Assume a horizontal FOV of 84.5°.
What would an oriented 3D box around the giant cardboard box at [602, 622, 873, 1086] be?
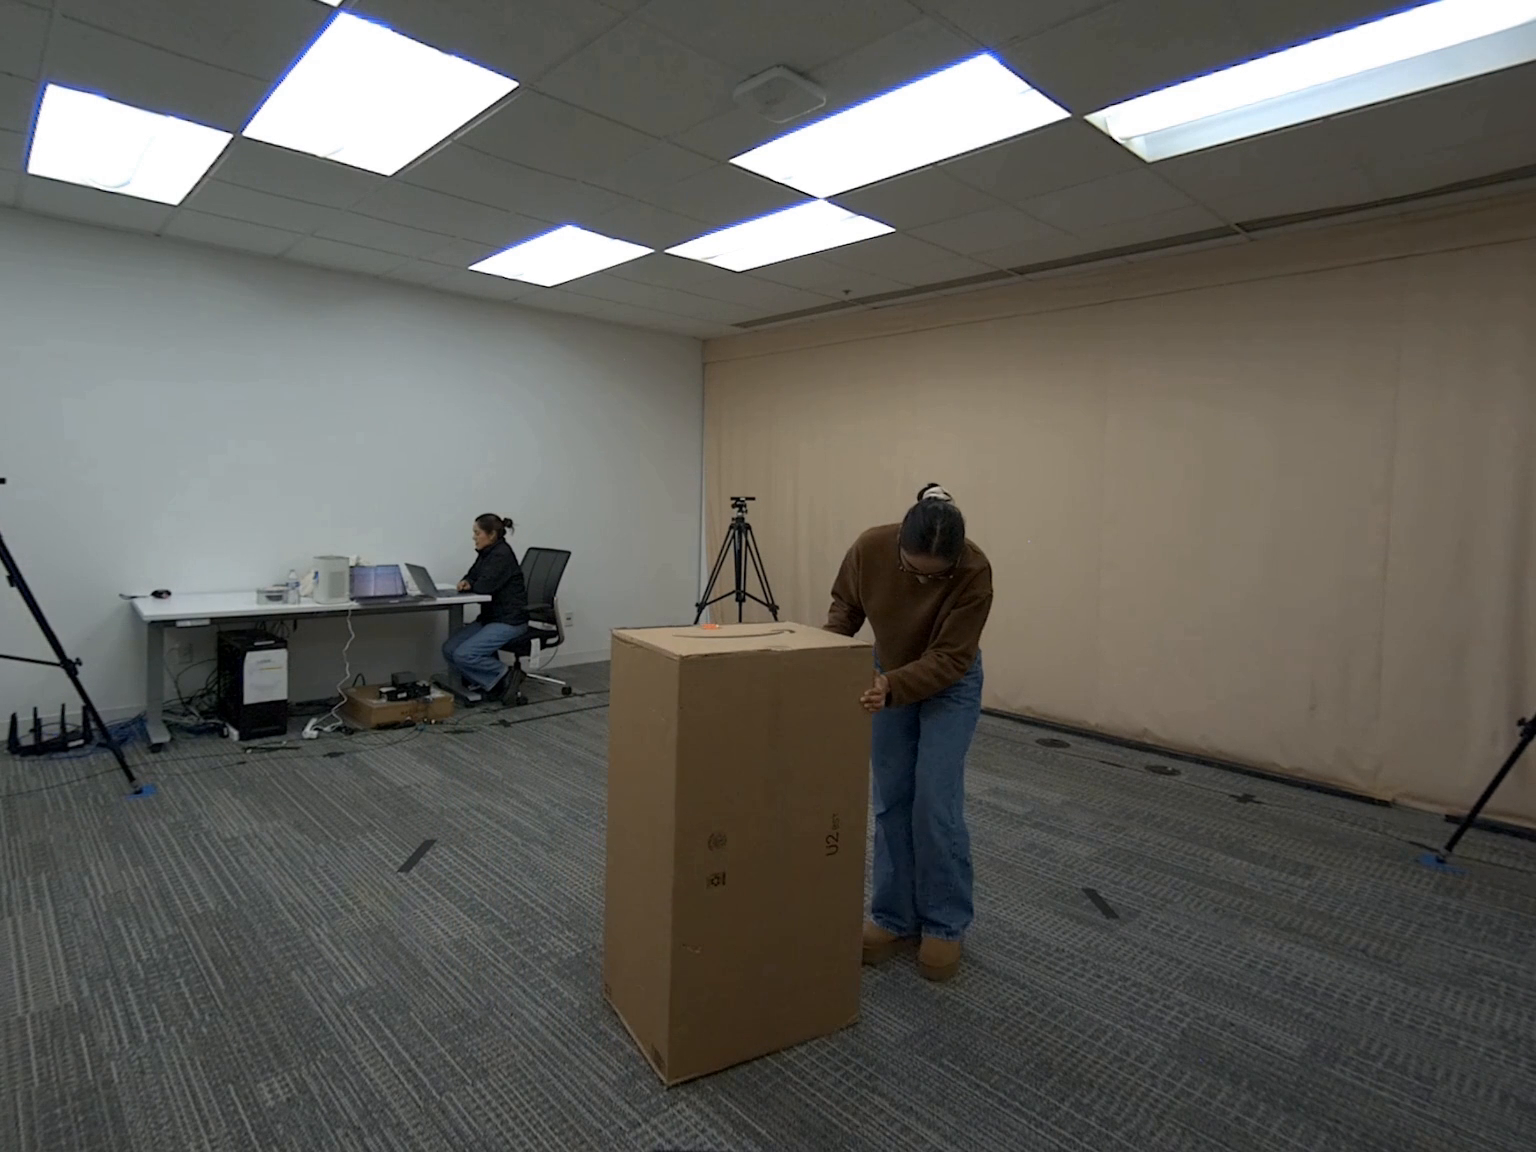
[{"bbox_3d":[-0.094,0.675,2.265,0.566,1.024,0.436,1,3,-30],"label":"giant cardboard box"}]
